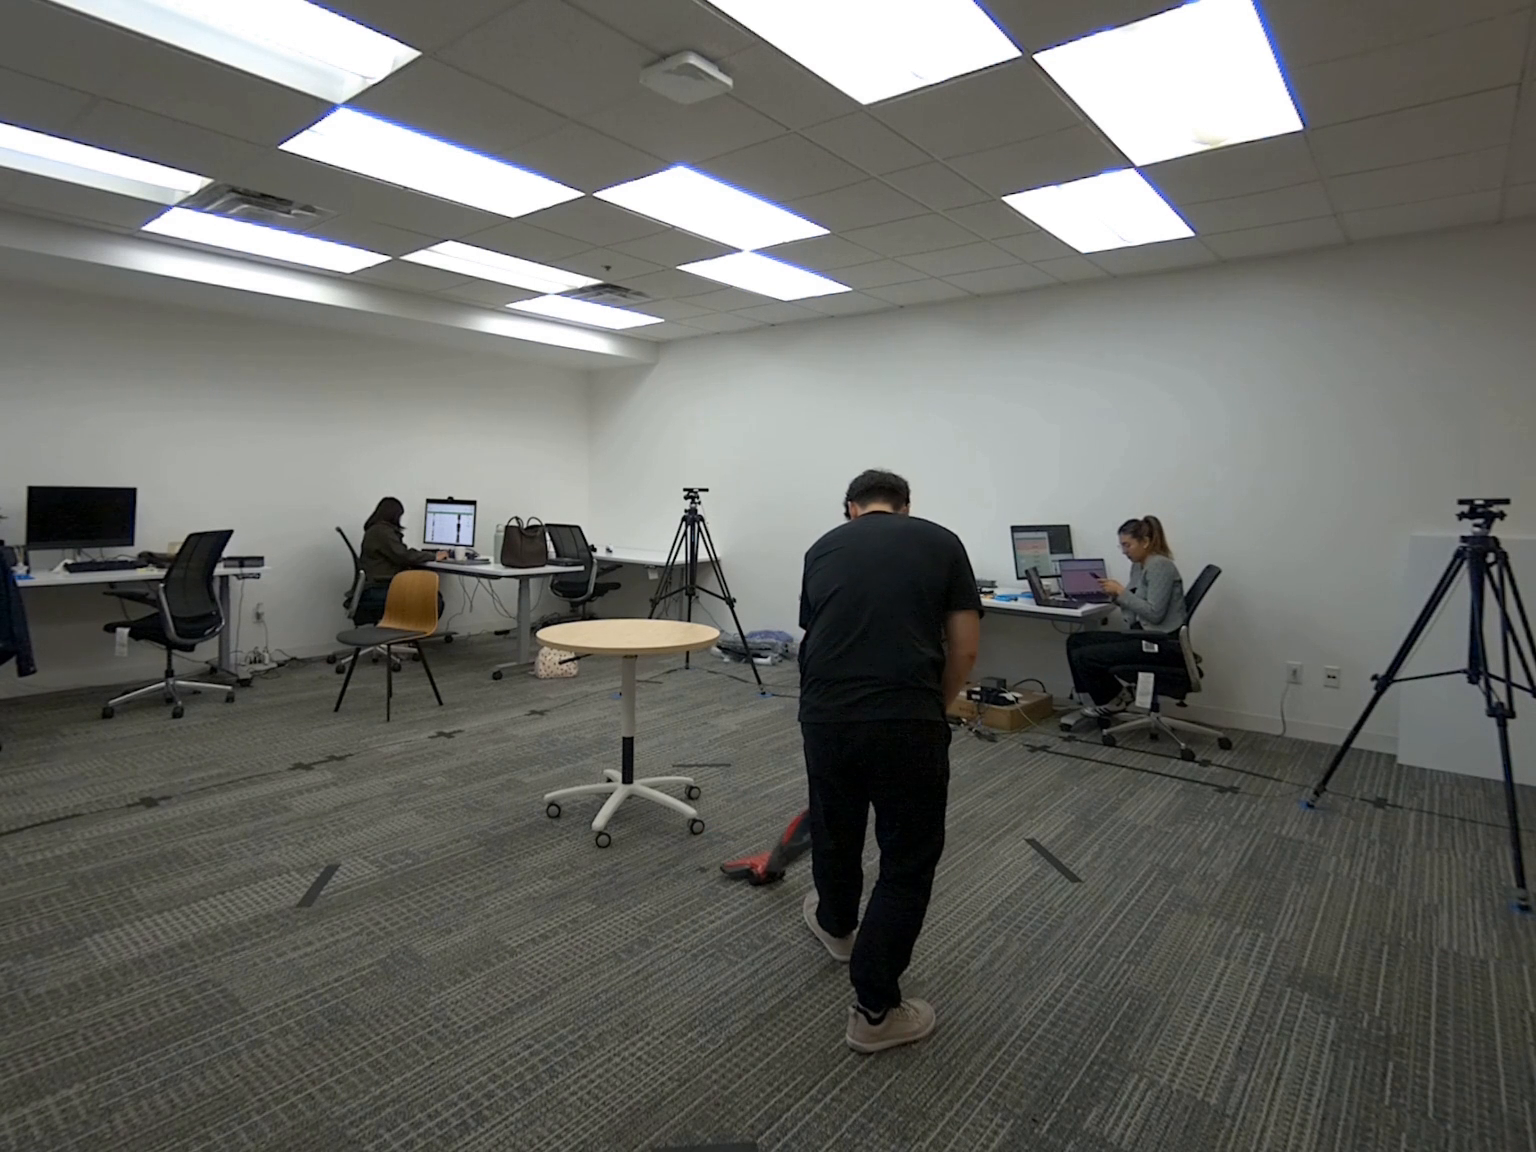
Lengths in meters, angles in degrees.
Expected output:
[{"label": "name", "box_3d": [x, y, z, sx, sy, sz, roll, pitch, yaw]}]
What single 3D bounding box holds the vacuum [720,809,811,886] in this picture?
[{"label": "vacuum", "box_3d": [0.186, 0.758, 2.732, 0.245, 0.149, 1.044, 0, -36, -34]}]
